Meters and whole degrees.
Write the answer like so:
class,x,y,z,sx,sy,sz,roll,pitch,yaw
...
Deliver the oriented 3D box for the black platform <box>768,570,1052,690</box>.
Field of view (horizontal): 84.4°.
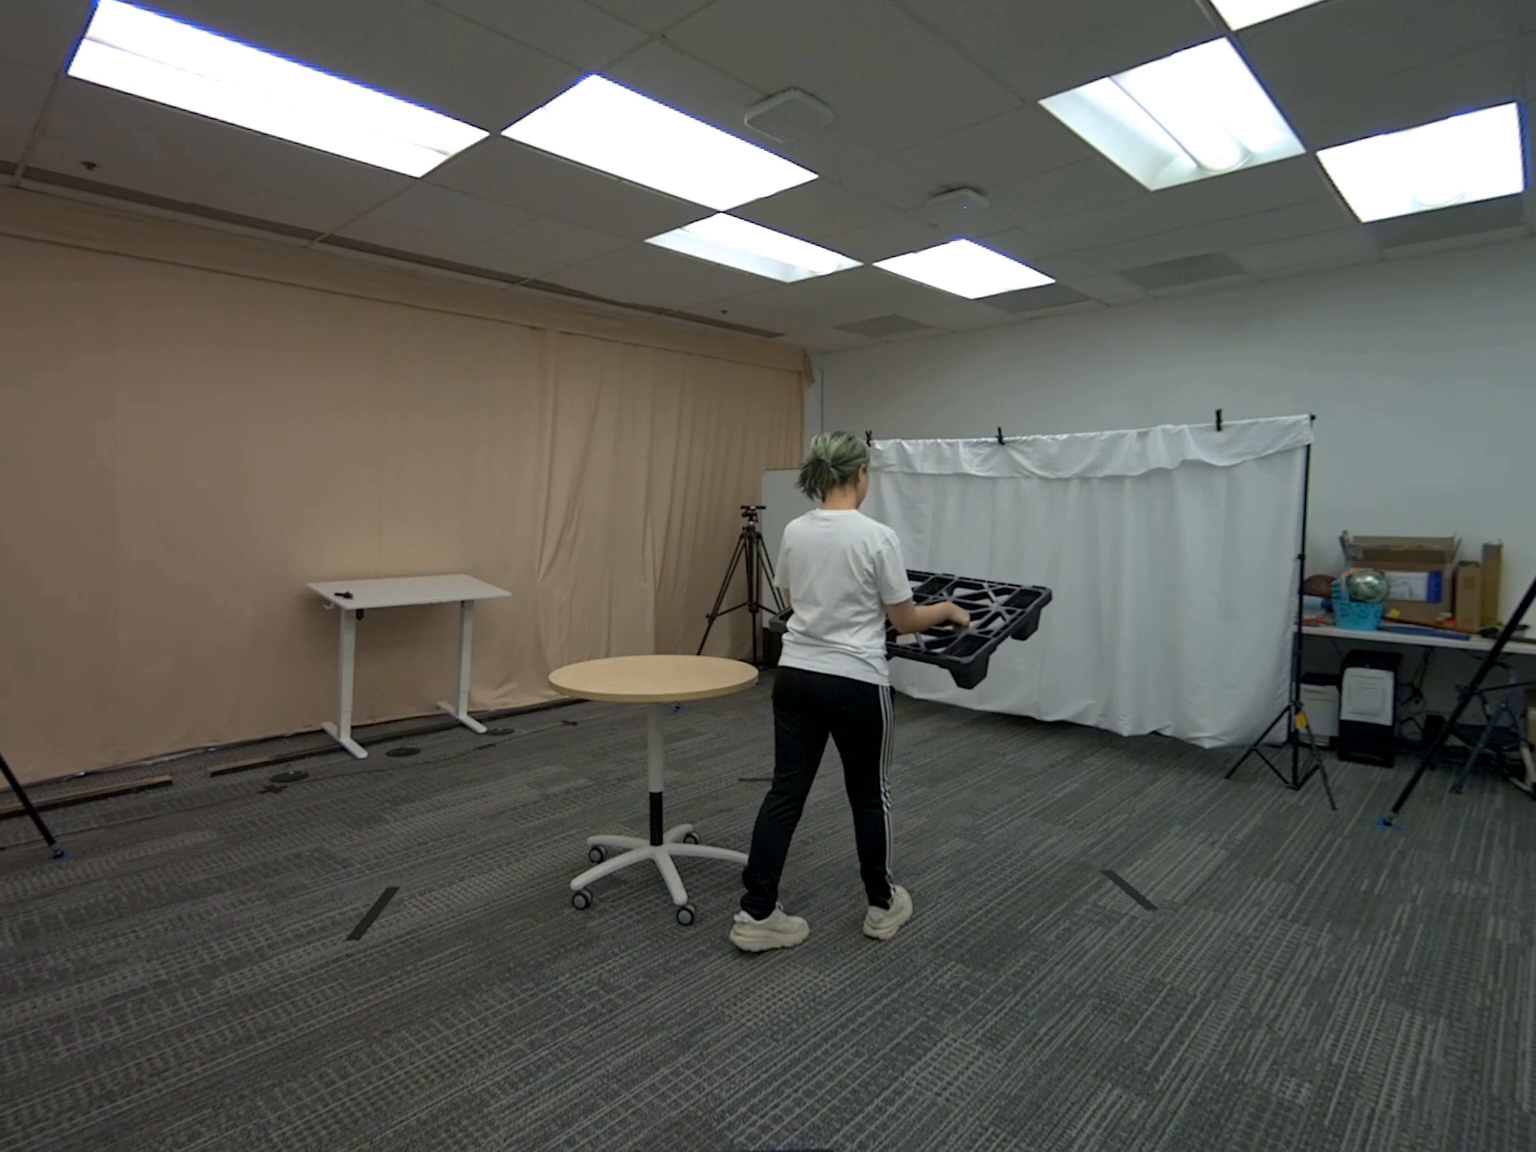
class,x,y,z,sx,sy,sz,roll,pitch,yaw
black platform,0.495,0.161,2.981,0.834,0.141,0.592,10,27,43
